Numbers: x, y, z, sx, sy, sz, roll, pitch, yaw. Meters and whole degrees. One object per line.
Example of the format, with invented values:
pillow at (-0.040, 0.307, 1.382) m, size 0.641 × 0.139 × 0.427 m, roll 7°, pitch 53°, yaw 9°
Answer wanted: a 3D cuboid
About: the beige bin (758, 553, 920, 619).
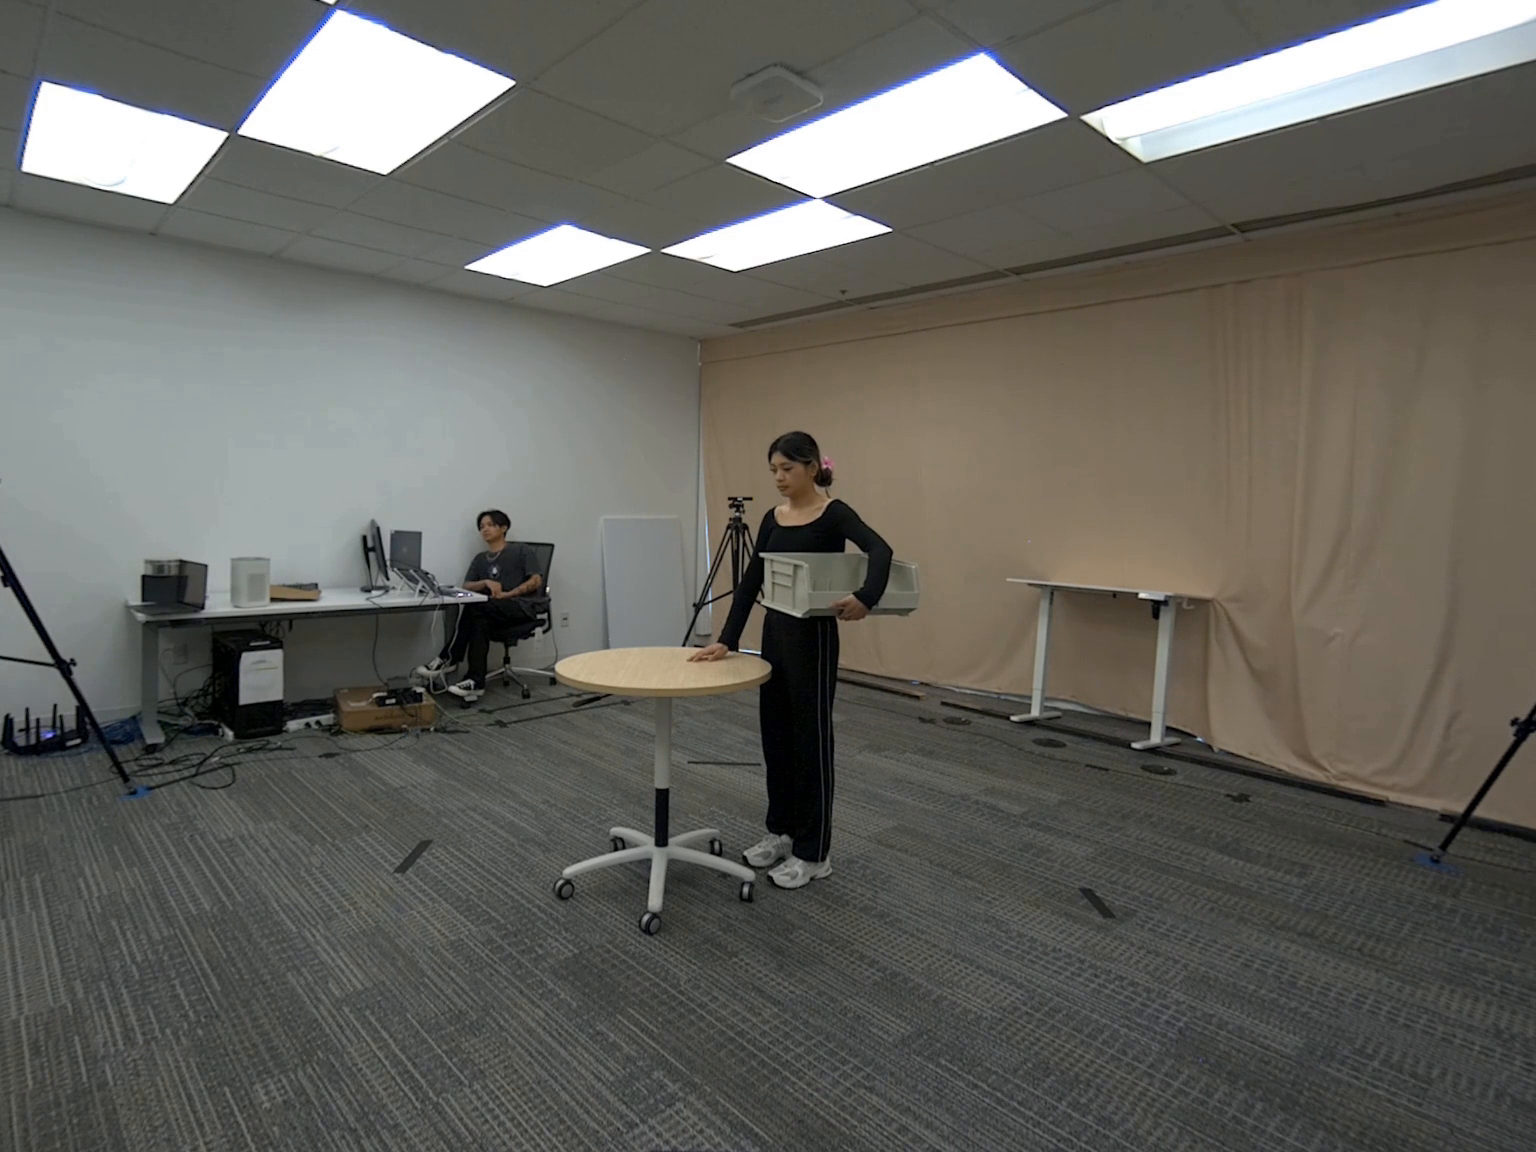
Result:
beige bin at (0.238, 0.032, 2.855) m, size 0.415 × 0.188 × 0.385 m, roll 0°, pitch 6°, yaw -23°
